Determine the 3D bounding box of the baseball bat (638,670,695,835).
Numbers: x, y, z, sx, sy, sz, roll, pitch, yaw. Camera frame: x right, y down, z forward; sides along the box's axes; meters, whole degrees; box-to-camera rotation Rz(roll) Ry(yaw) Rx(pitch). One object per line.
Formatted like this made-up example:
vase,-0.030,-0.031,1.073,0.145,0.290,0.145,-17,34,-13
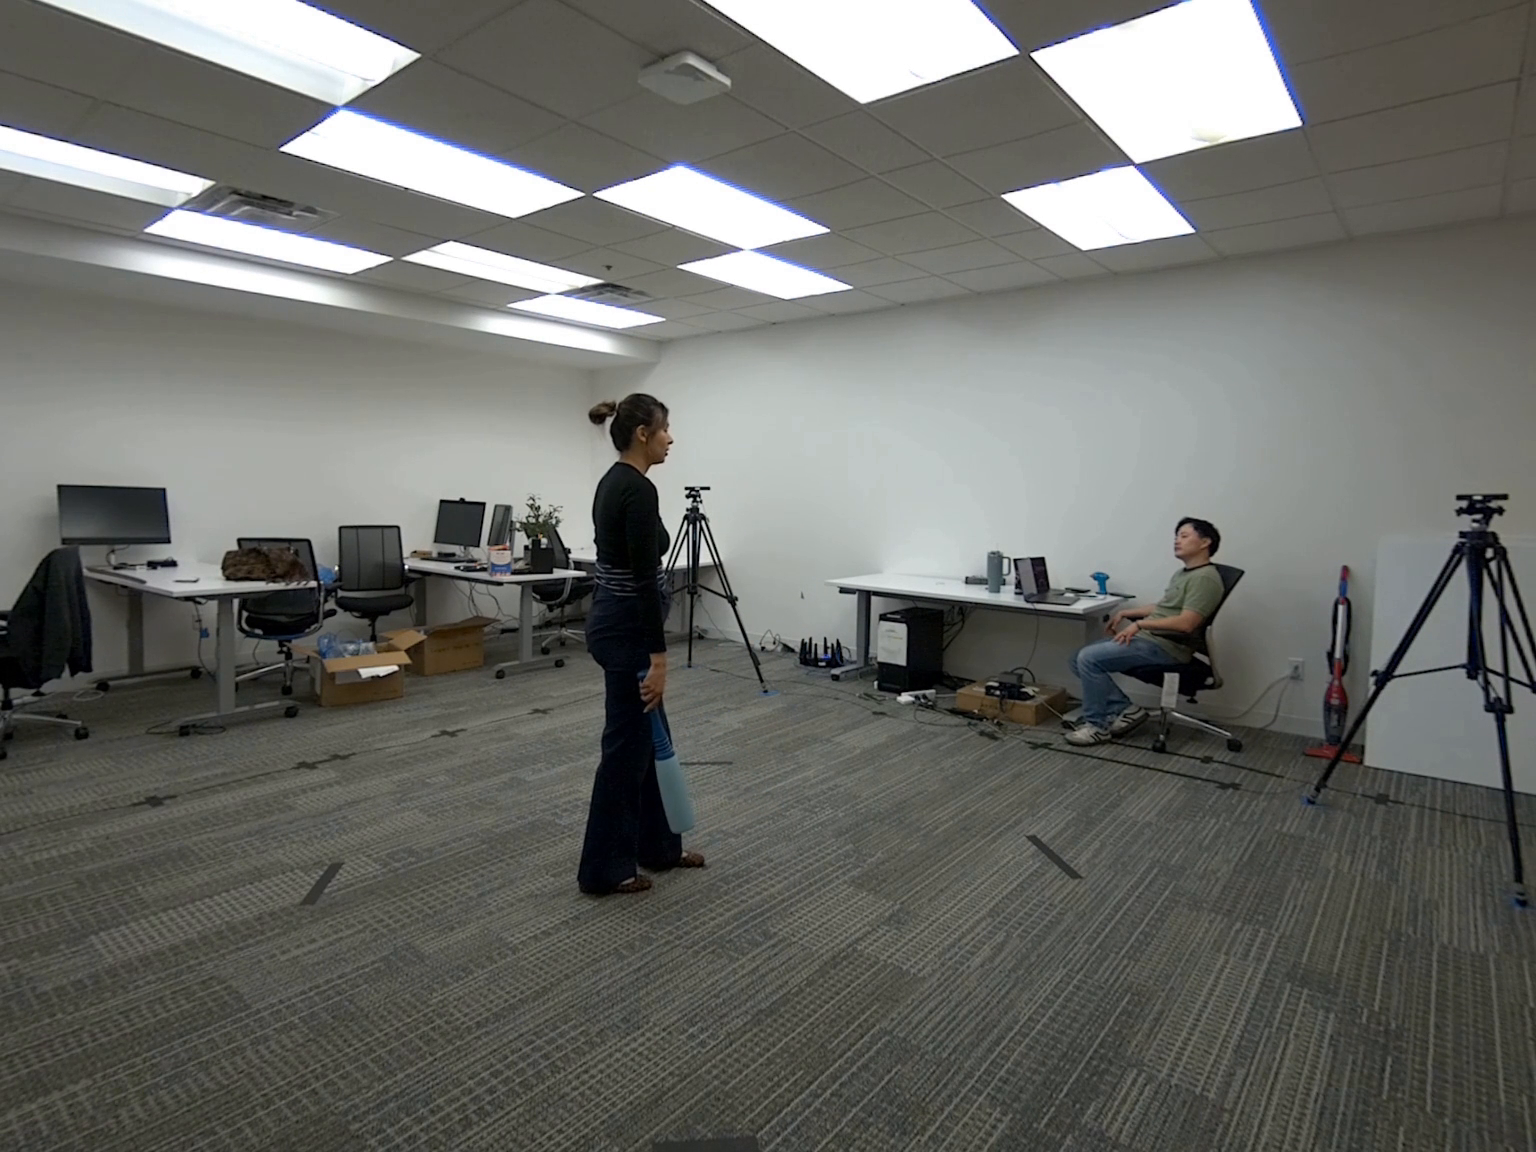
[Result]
baseball bat,-0.347,0.571,2.763,0.089,0.540,0.089,-13,4,-1
